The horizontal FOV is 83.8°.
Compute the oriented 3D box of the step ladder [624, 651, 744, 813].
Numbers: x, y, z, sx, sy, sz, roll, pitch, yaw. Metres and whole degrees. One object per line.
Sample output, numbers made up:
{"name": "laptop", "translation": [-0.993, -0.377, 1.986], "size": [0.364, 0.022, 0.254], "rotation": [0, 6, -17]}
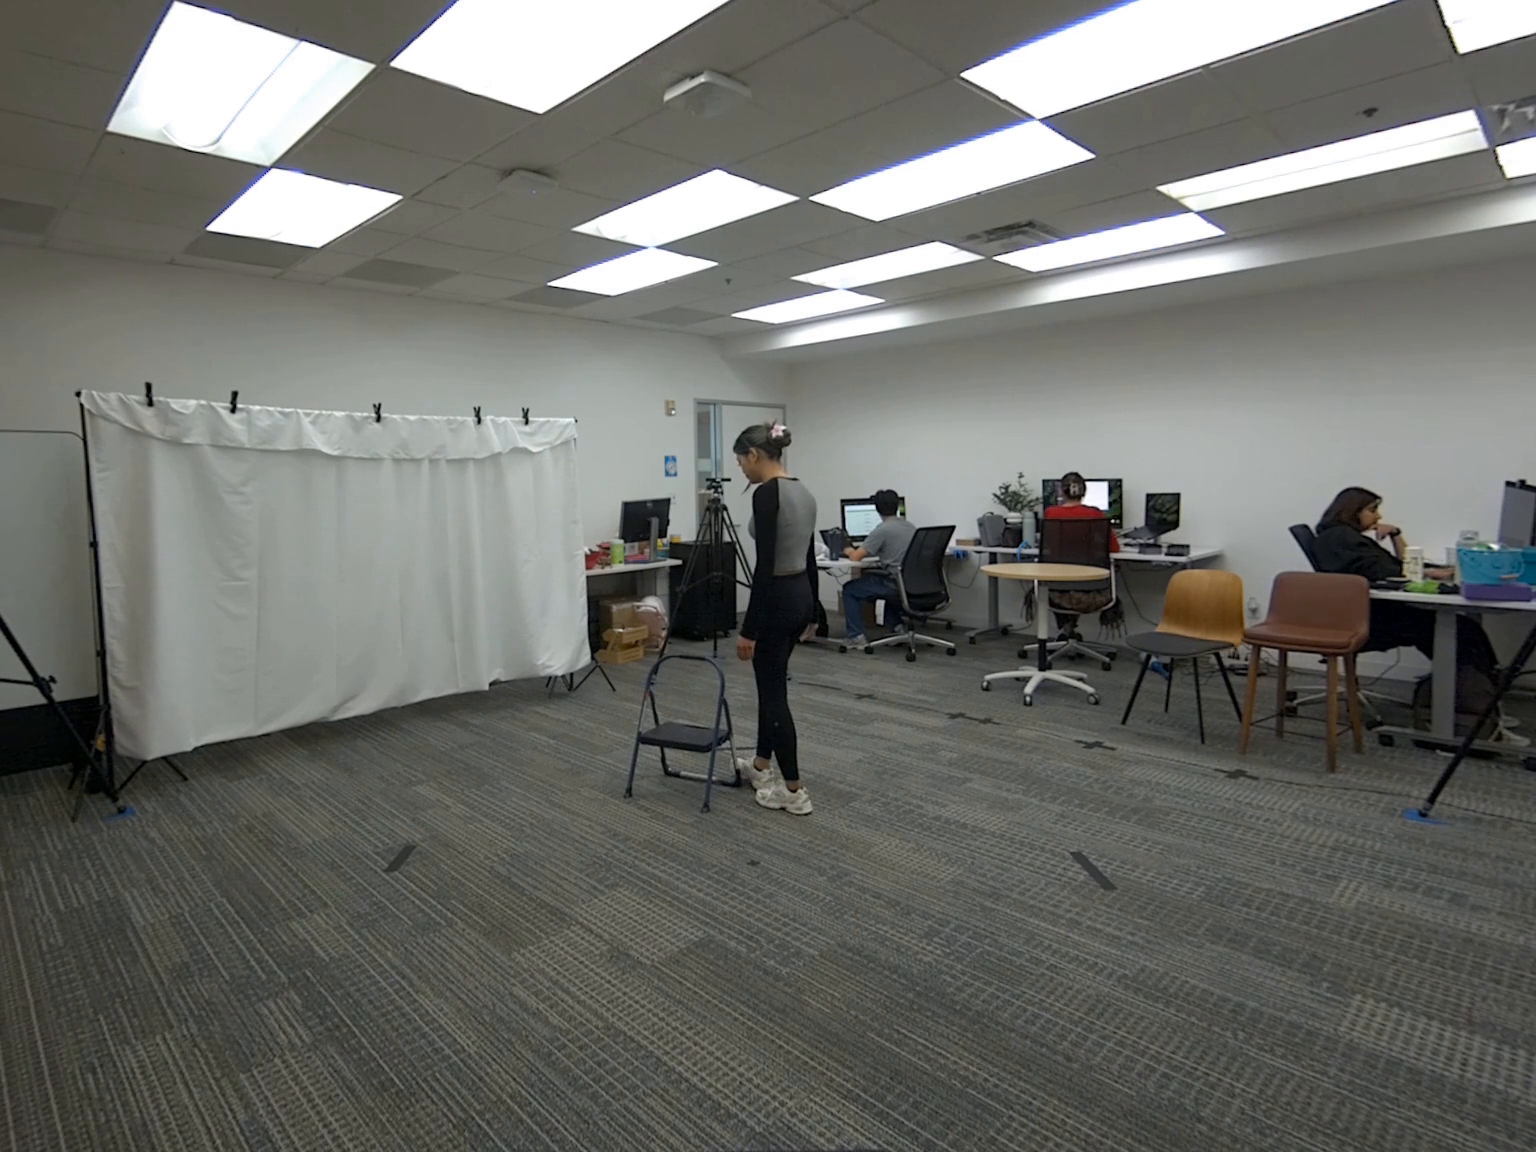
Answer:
{"name": "step ladder", "translation": [-0.378, 0.667, 3.817], "size": [0.441, 0.604, 0.342], "rotation": [1, 4, 27]}
